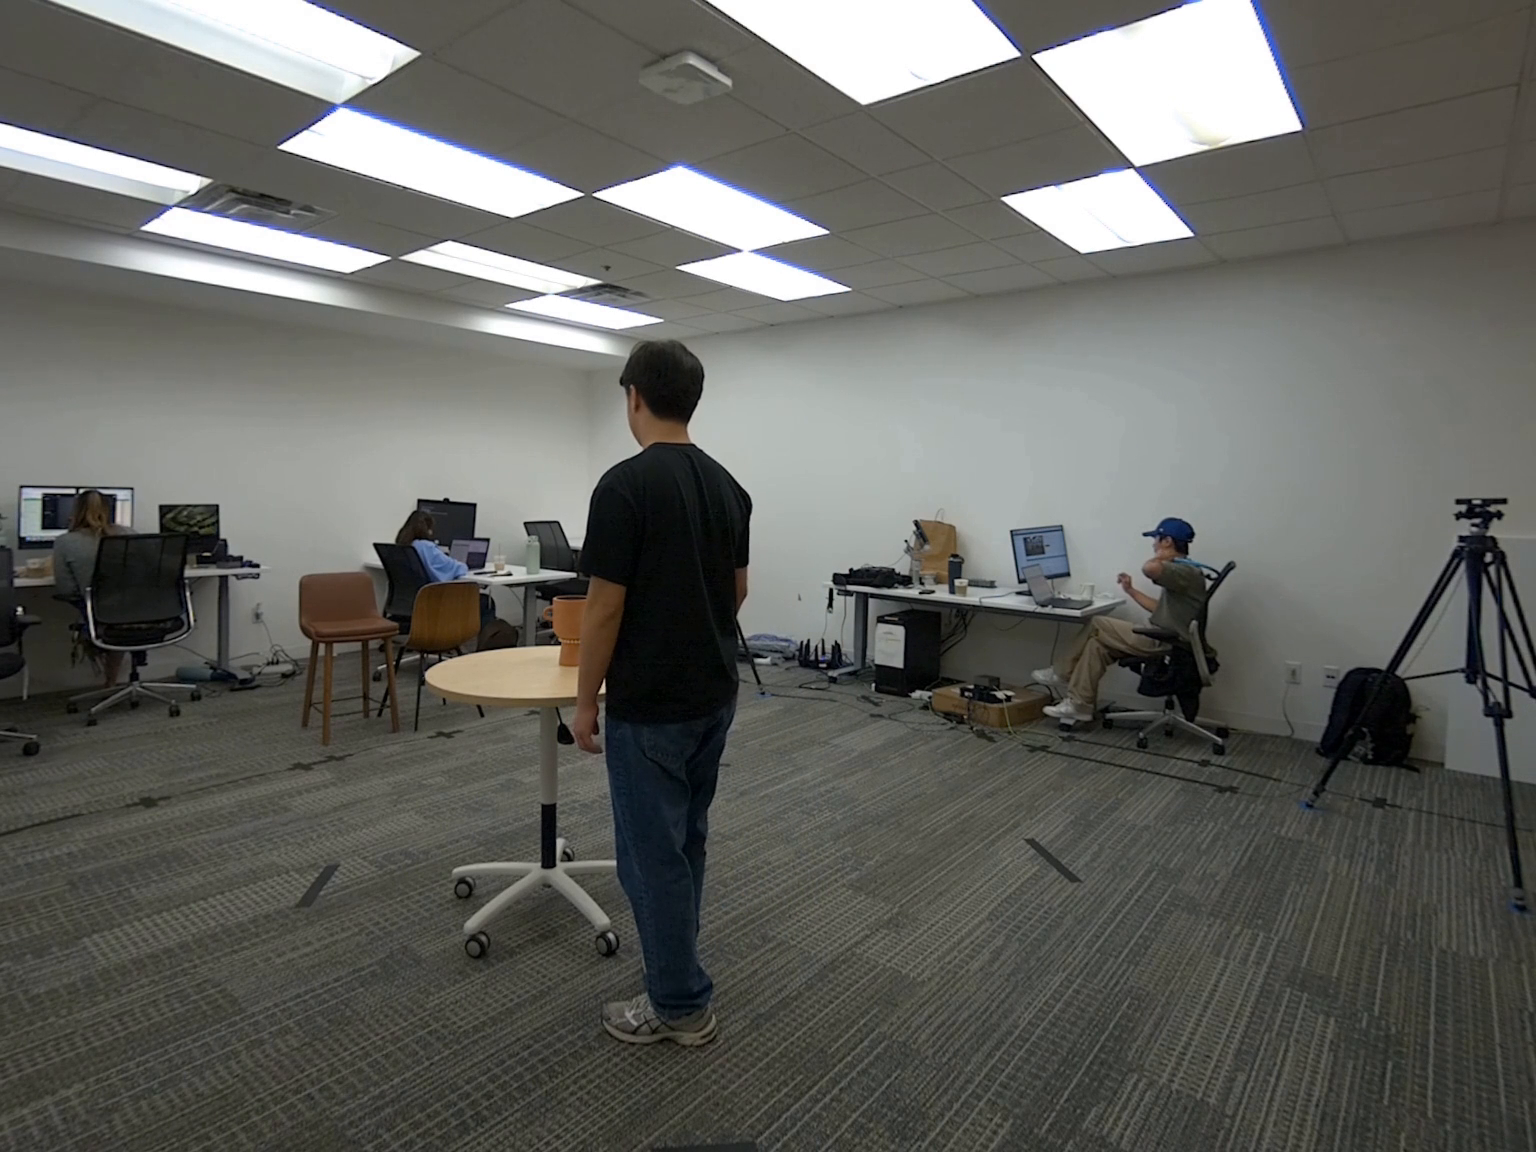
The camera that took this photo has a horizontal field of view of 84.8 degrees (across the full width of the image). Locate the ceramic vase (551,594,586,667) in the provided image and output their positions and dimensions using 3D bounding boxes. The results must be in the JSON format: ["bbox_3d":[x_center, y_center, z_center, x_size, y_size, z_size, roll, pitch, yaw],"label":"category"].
[{"bbox_3d":[-0.667,0.181,2.838,0.162,0.219,0.132,3,5,21],"label":"ceramic vase"}]
